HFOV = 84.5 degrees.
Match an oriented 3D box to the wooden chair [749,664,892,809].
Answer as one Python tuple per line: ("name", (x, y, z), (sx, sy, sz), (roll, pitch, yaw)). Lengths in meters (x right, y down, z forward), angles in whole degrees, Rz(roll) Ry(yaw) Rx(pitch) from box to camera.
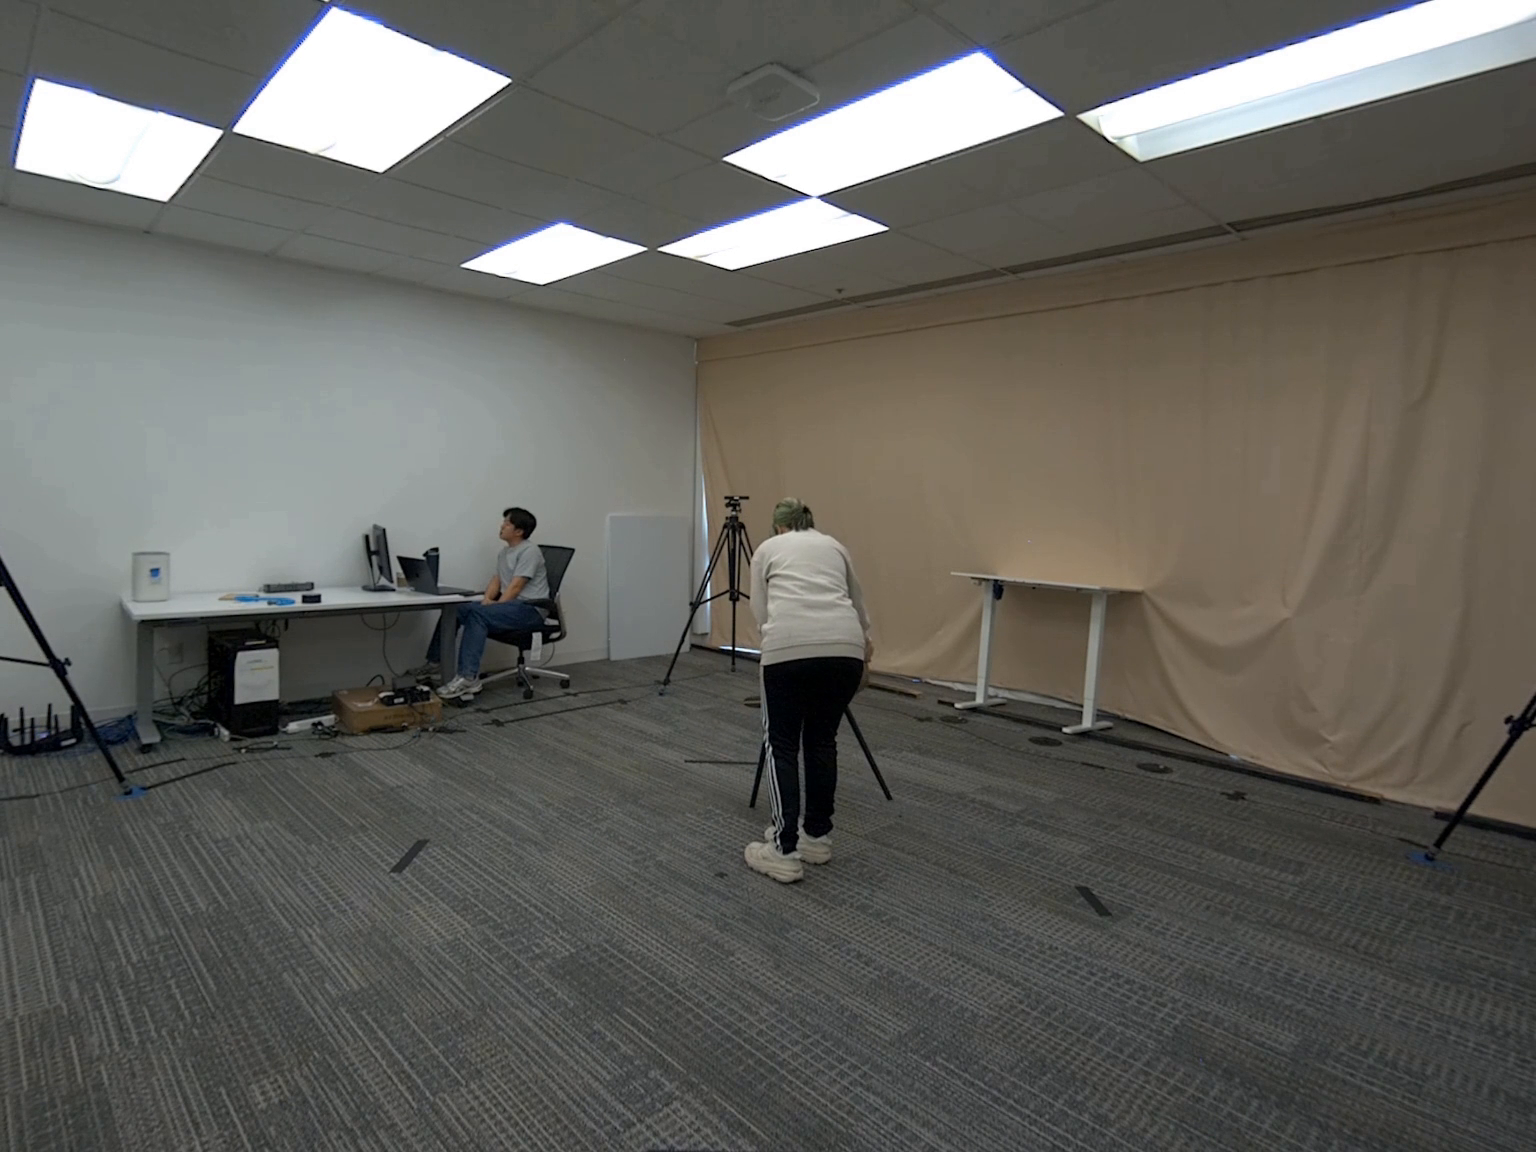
("wooden chair", (0.174, 0.591, 3.783), (0.468, 0.880, 0.532), (-1, -5, -33))
